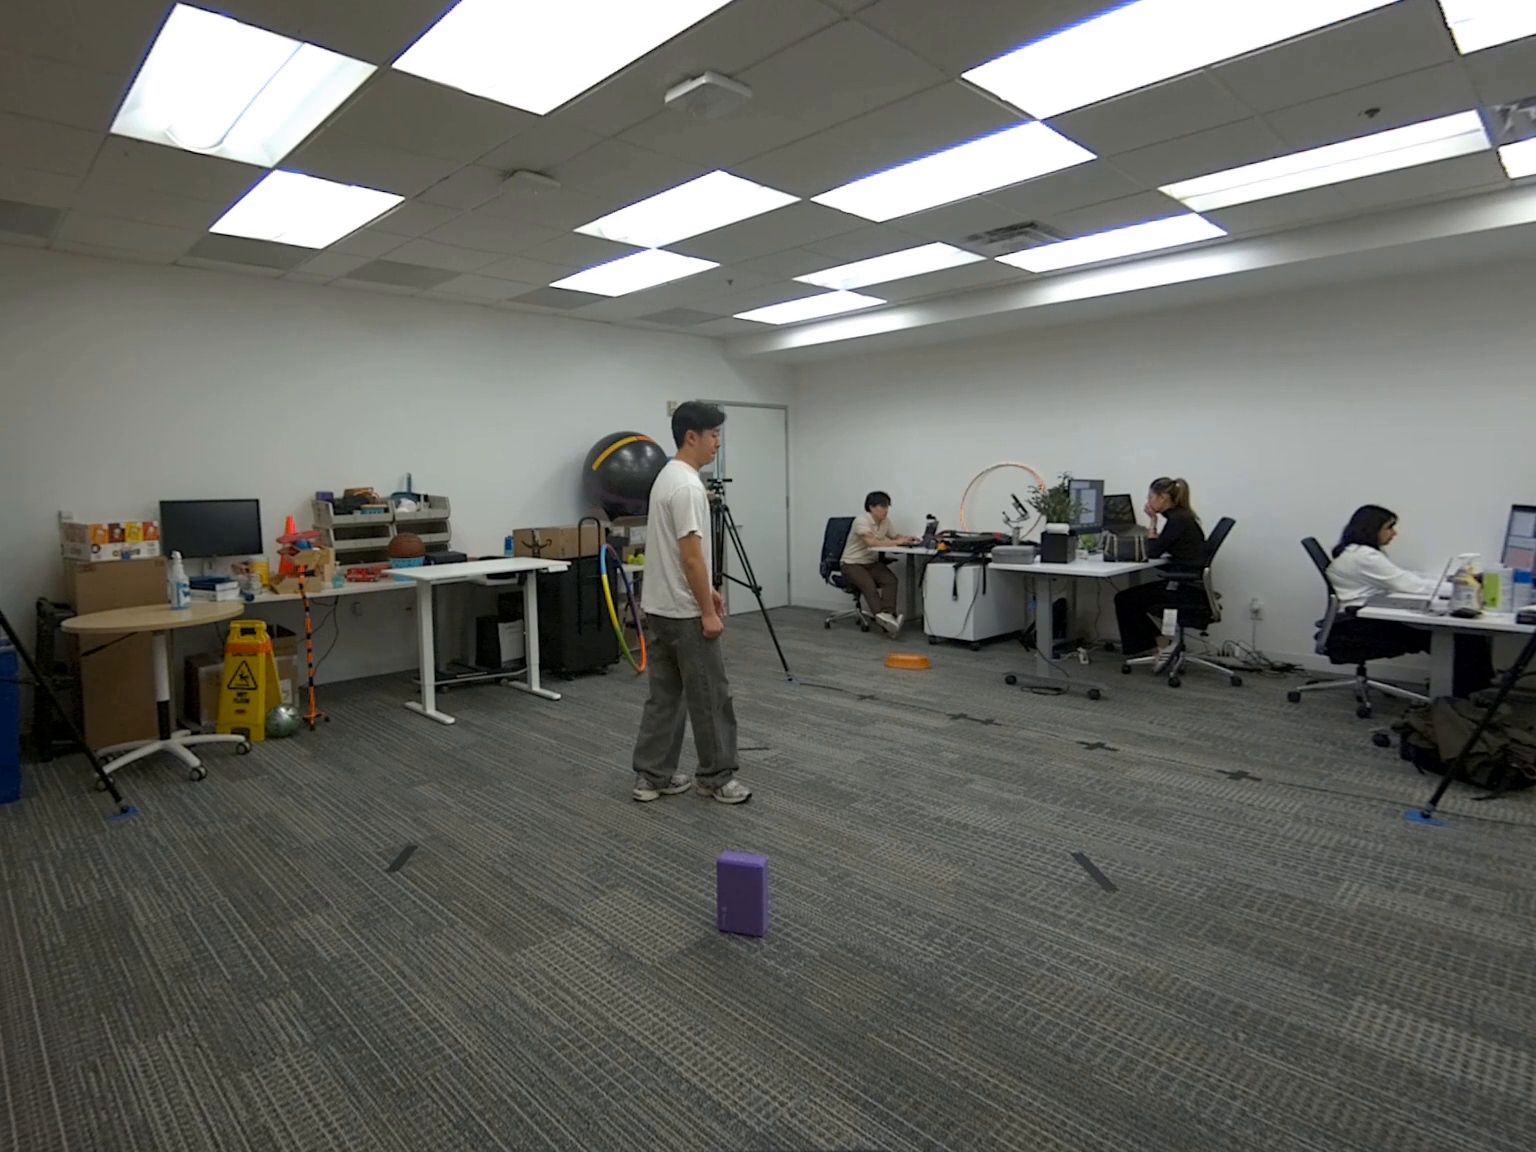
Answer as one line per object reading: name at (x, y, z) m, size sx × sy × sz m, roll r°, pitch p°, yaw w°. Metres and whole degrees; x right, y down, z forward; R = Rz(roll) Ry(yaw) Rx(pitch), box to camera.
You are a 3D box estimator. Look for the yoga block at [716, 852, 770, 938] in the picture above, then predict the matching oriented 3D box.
yoga block at (-0.072, 0.983, 2.653) m, size 0.151 × 0.229 × 0.075 m, roll 0°, pitch 3°, yaw 16°
